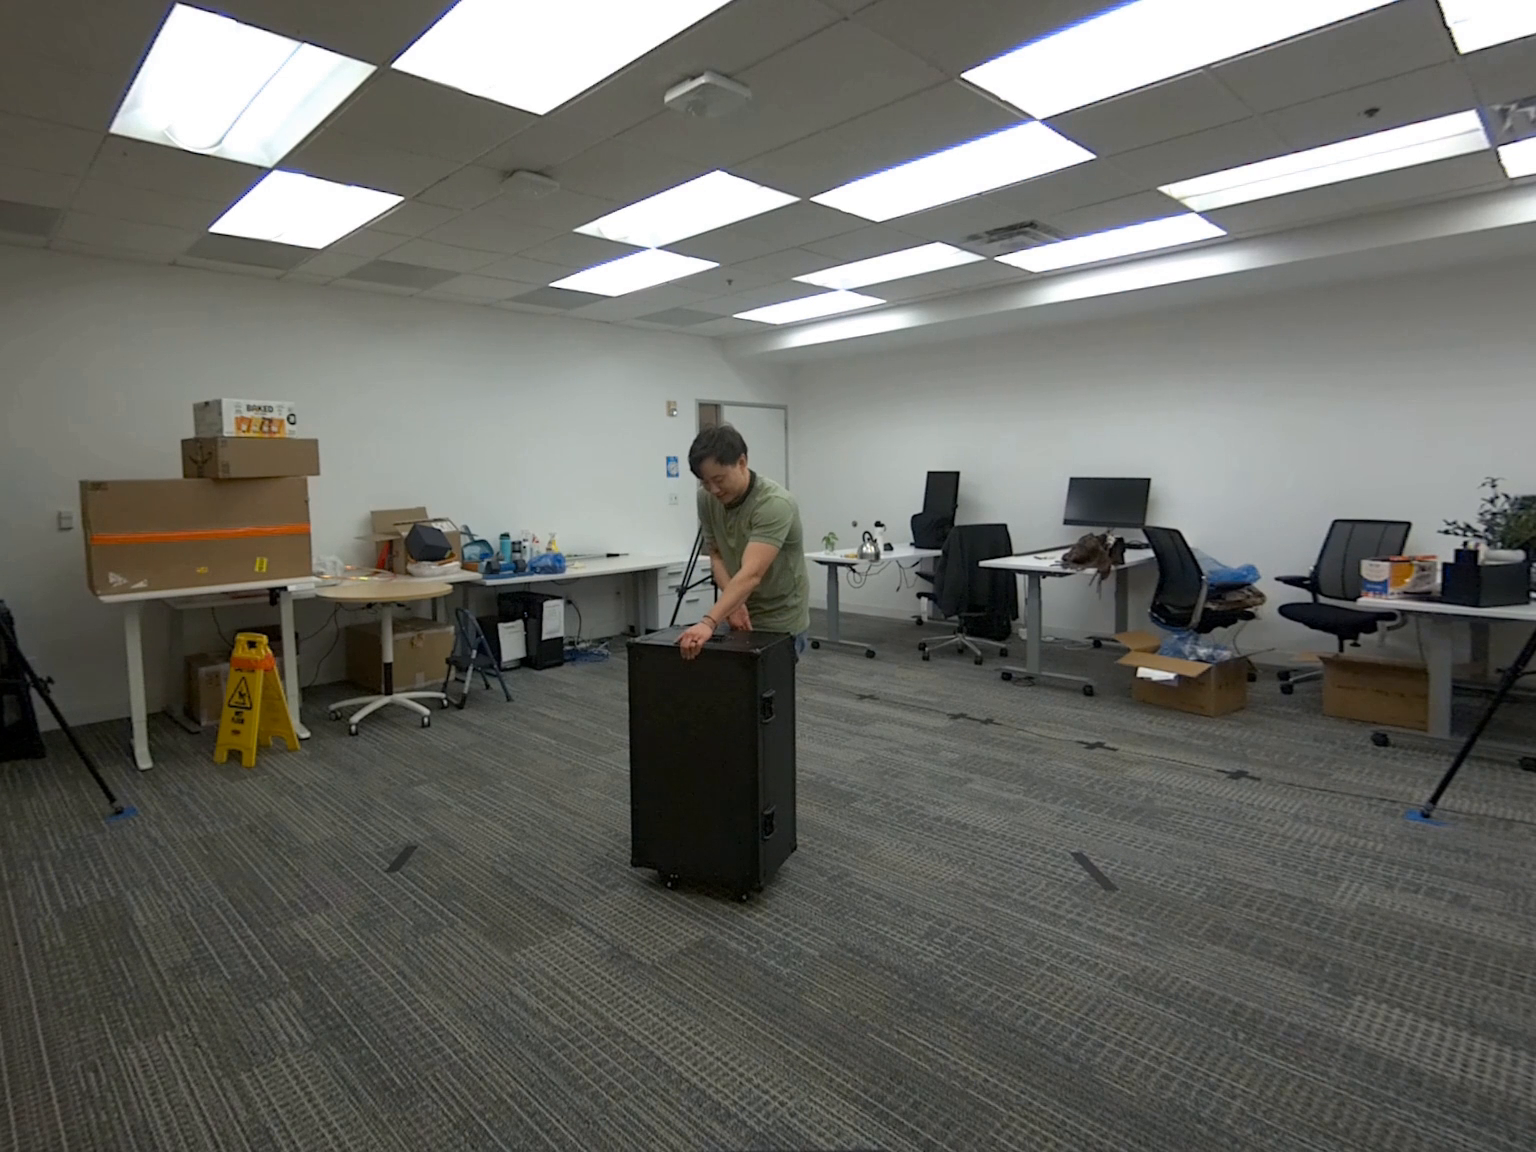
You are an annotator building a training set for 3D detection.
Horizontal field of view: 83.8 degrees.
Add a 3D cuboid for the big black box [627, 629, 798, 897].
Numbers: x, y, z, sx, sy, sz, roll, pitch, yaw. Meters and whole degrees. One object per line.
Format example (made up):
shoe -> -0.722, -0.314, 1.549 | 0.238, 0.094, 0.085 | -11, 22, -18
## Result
big black box -> -0.189, 0.632, 2.986 | 0.533, 0.859, 0.388 | 1, 3, 24
